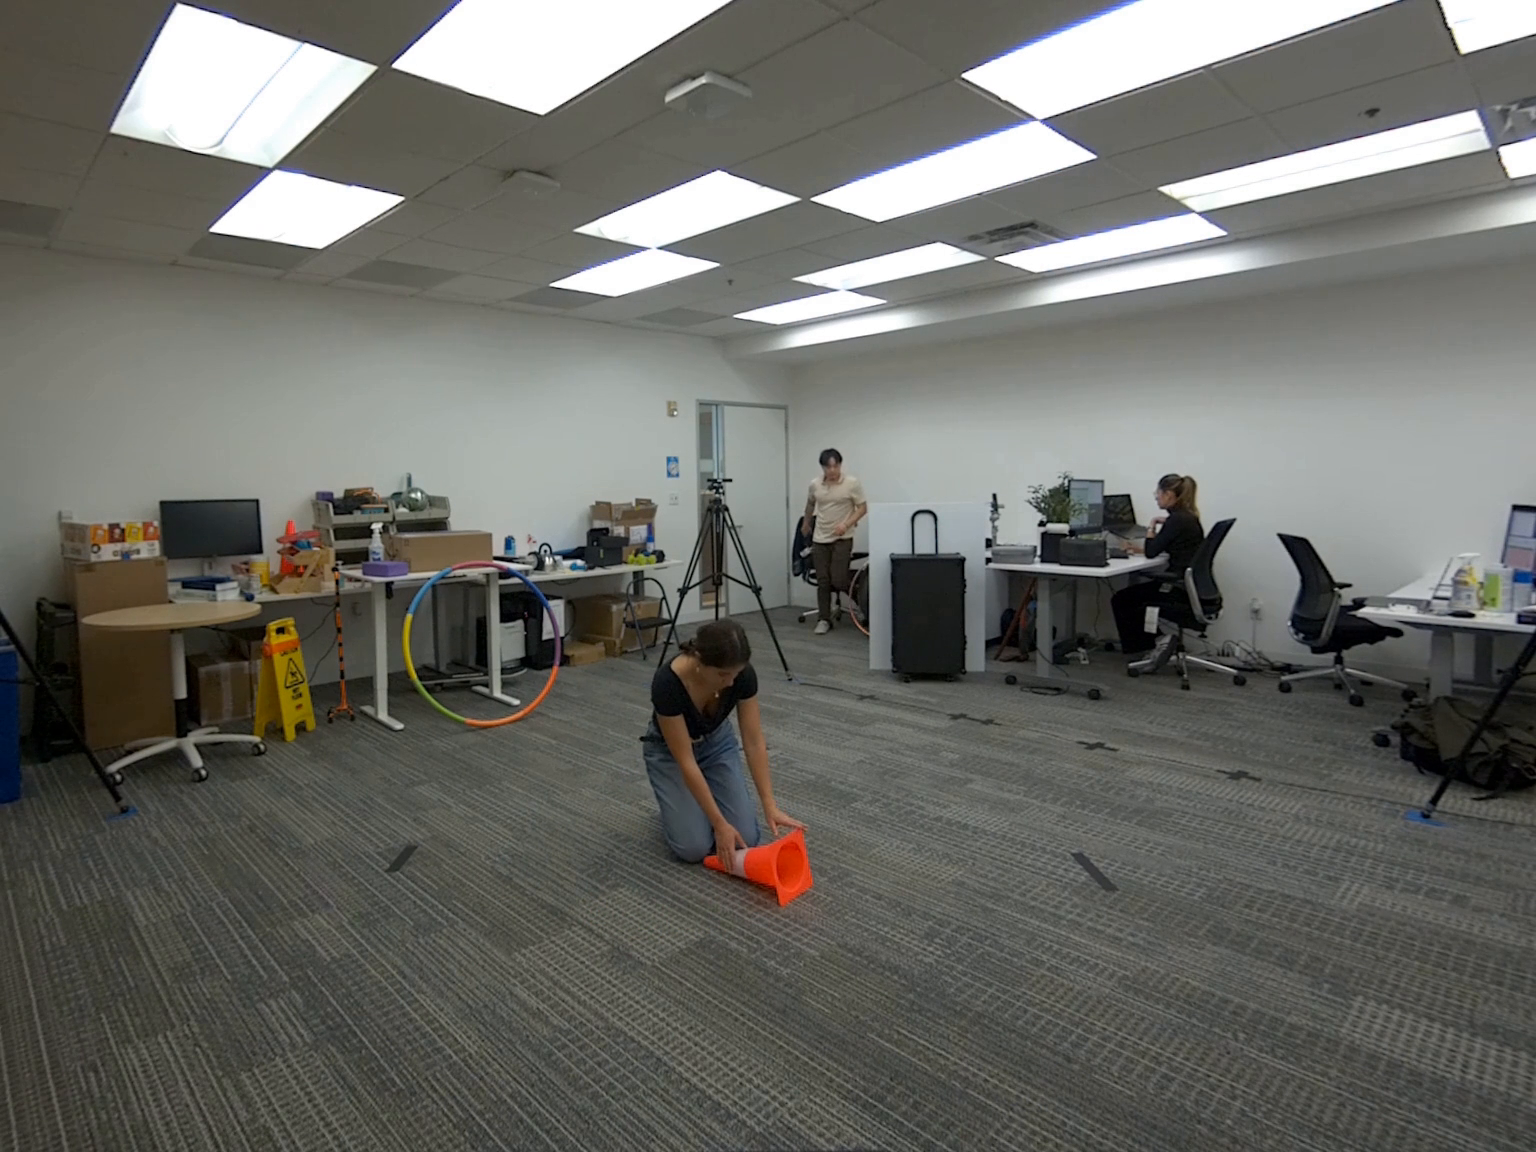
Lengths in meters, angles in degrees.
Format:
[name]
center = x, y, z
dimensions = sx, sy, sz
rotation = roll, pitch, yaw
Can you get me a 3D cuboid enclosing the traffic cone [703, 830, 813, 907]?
[traffic cone]
center = -0.065, 1.008, 2.989
dimensions = 0.392, 0.206, 0.198
rotation = -12, -3, 38
